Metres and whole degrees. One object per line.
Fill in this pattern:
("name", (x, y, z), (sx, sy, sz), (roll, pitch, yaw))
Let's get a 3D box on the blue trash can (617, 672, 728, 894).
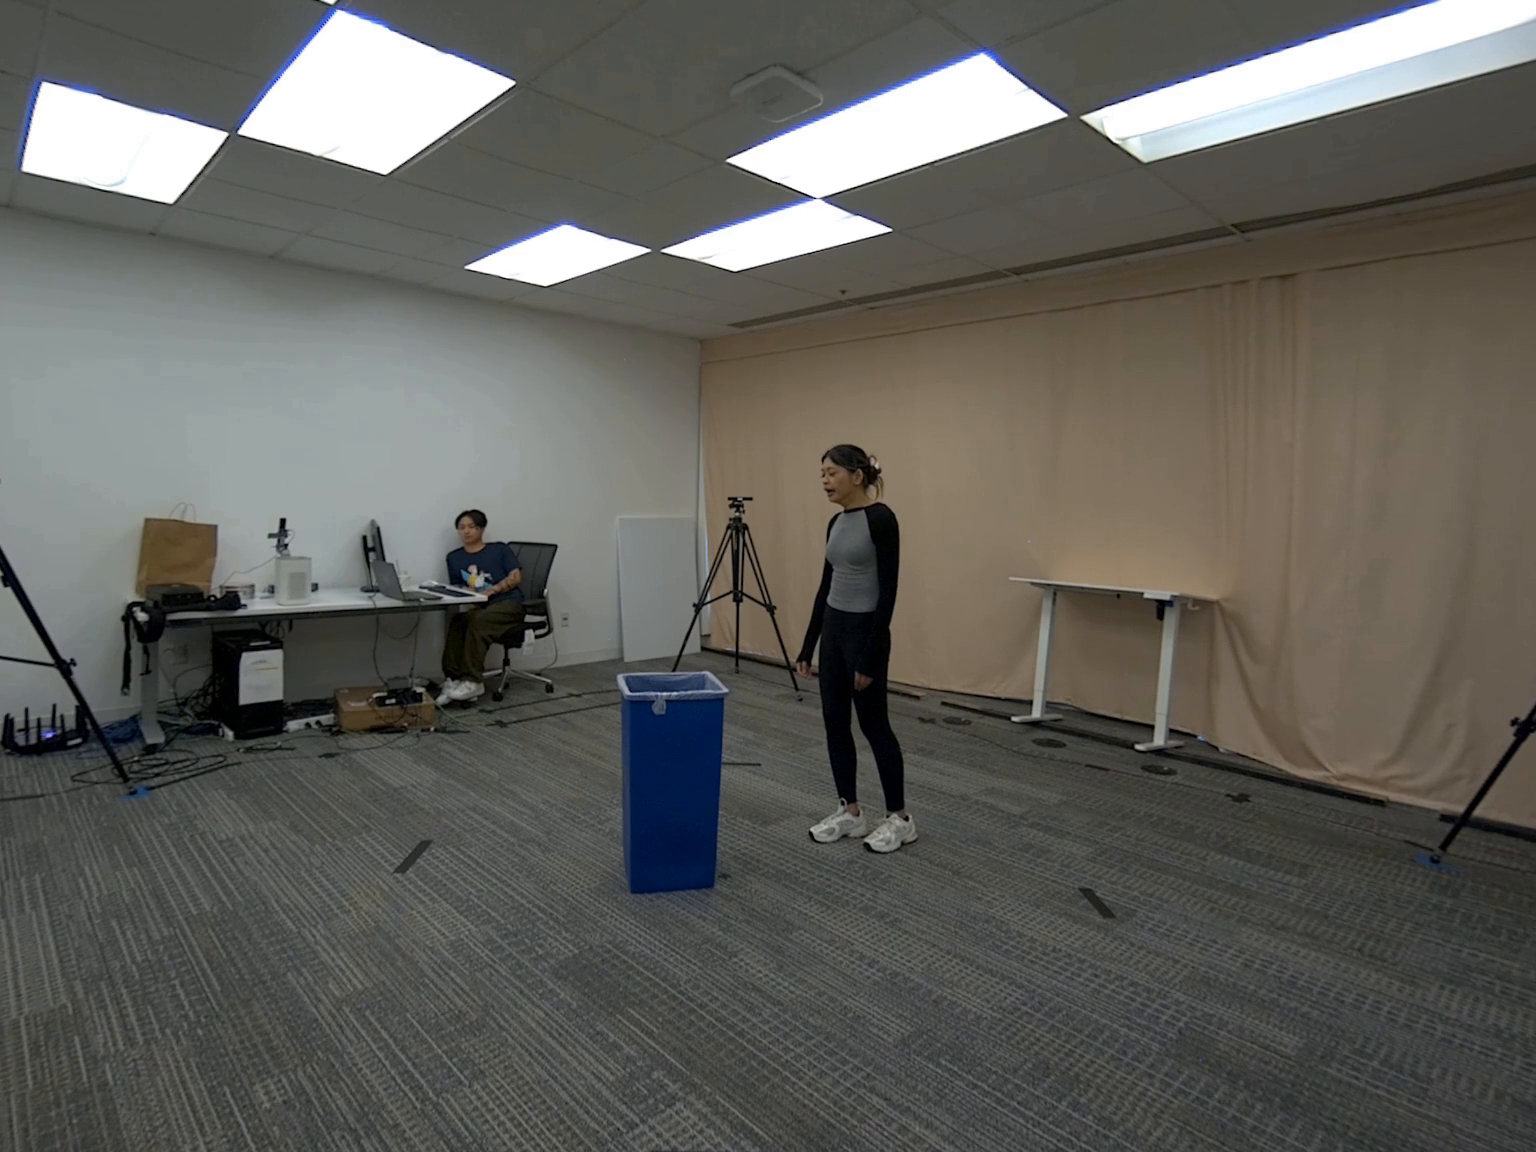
("blue trash can", (-0.374, 0.745, 3.107), (0.374, 0.712, 0.379), (1, 3, -14))
